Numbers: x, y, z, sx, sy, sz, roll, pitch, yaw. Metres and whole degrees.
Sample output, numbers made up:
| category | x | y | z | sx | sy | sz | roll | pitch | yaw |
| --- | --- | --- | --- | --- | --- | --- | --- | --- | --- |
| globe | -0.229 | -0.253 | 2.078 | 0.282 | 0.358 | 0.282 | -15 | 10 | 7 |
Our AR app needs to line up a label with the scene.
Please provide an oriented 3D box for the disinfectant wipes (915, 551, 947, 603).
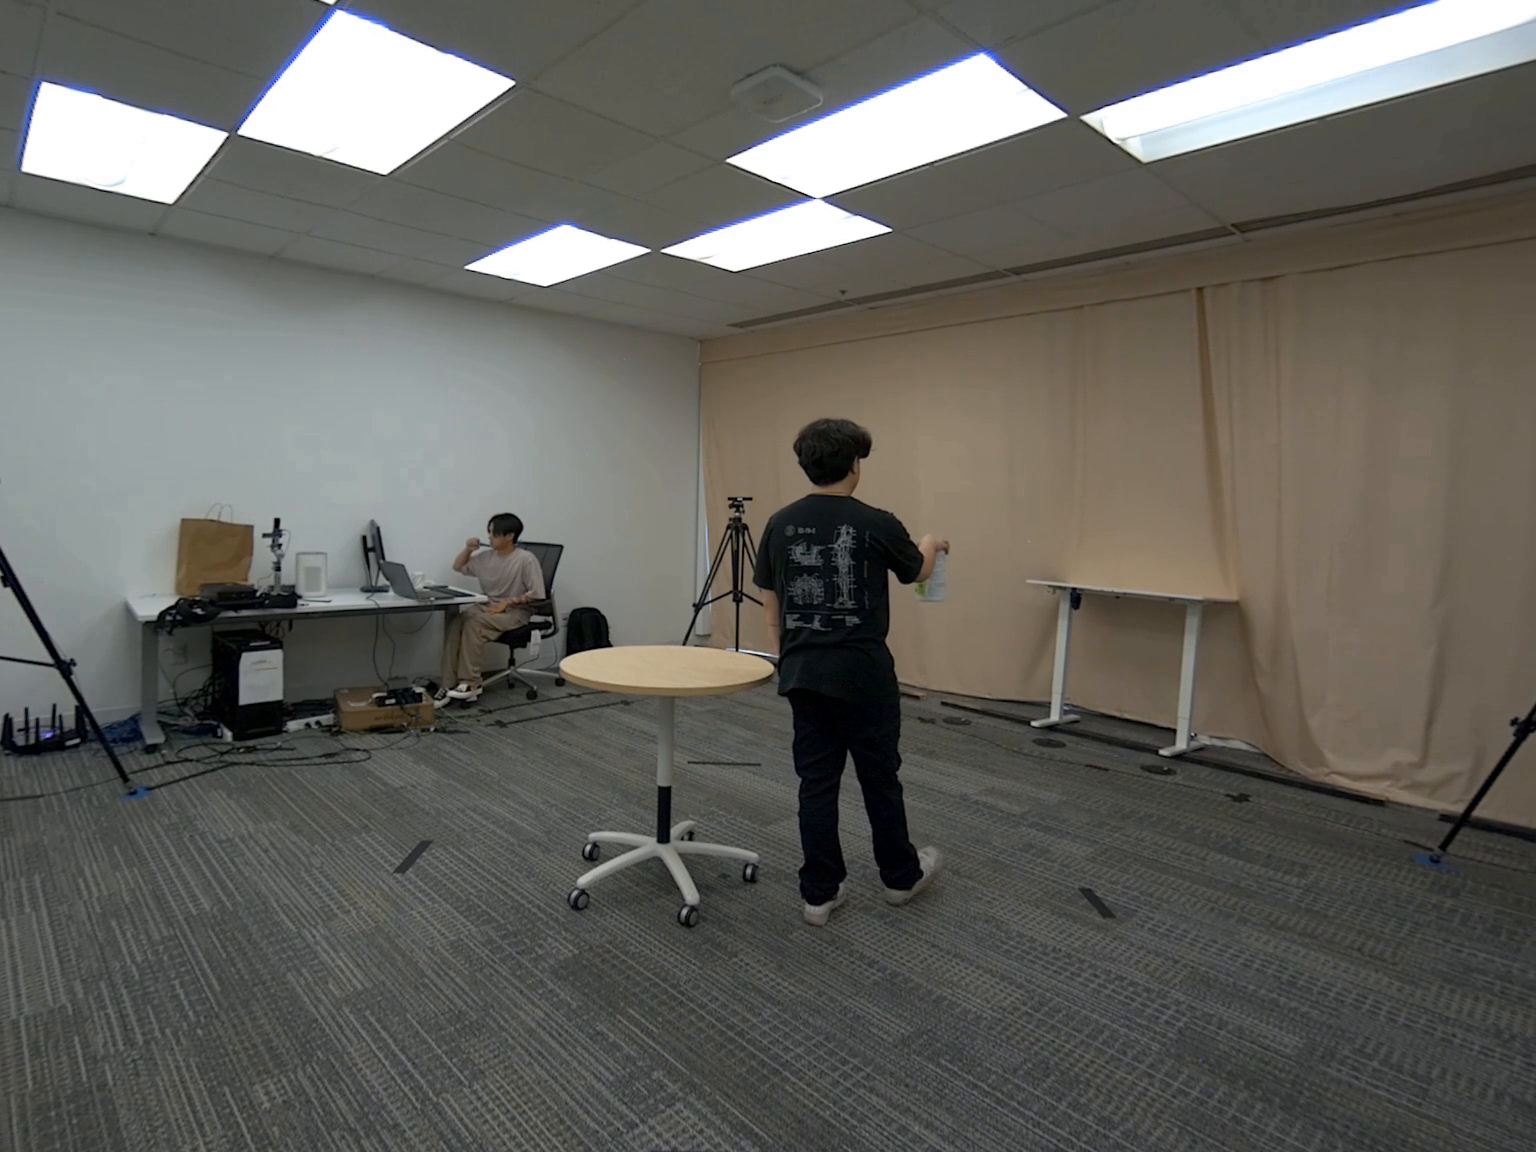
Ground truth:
| category | x | y | z | sx | sy | sz | roll | pitch | yaw |
| --- | --- | --- | --- | --- | --- | --- | --- | --- | --- |
| disinfectant wipes | 0.625 | -0.013 | 3.205 | 0.118 | 0.216 | 0.118 | -1 | 6 | -1 |
